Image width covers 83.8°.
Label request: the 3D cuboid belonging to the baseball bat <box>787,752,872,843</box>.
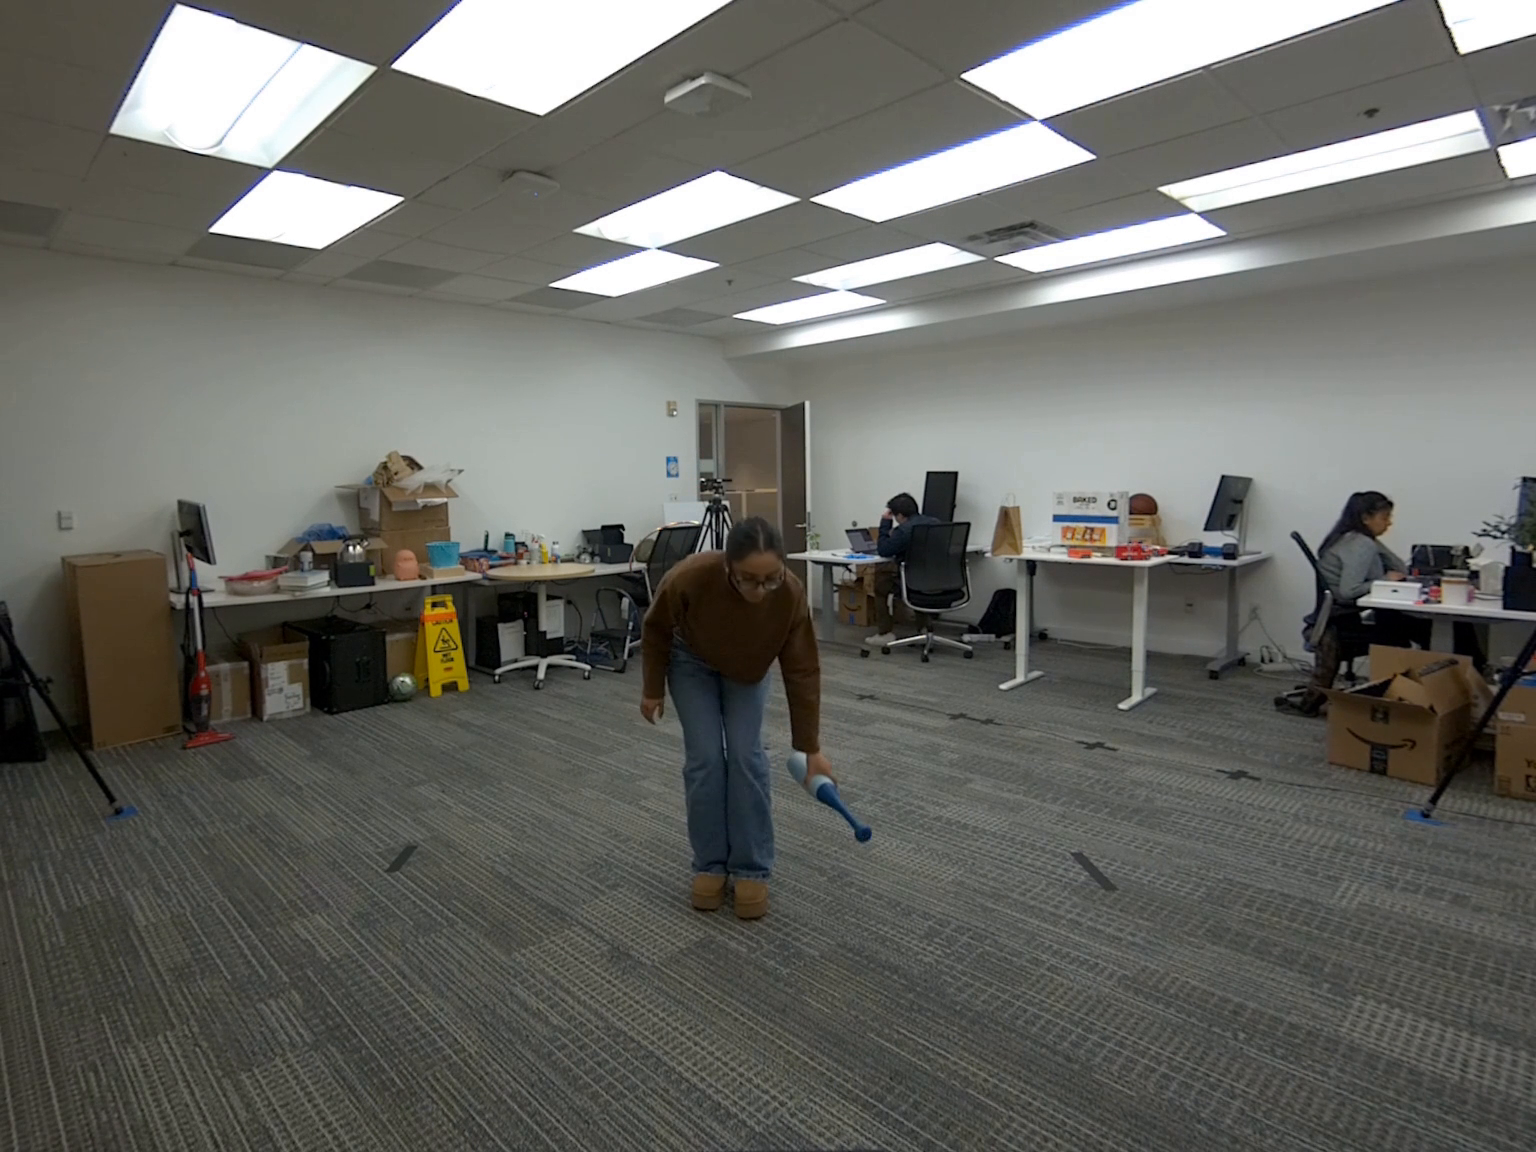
[{"bbox_3d":[0.205,0.695,2.661,0.088,0.088,0.555,-3,11,-17],"label":"baseball bat"}]
